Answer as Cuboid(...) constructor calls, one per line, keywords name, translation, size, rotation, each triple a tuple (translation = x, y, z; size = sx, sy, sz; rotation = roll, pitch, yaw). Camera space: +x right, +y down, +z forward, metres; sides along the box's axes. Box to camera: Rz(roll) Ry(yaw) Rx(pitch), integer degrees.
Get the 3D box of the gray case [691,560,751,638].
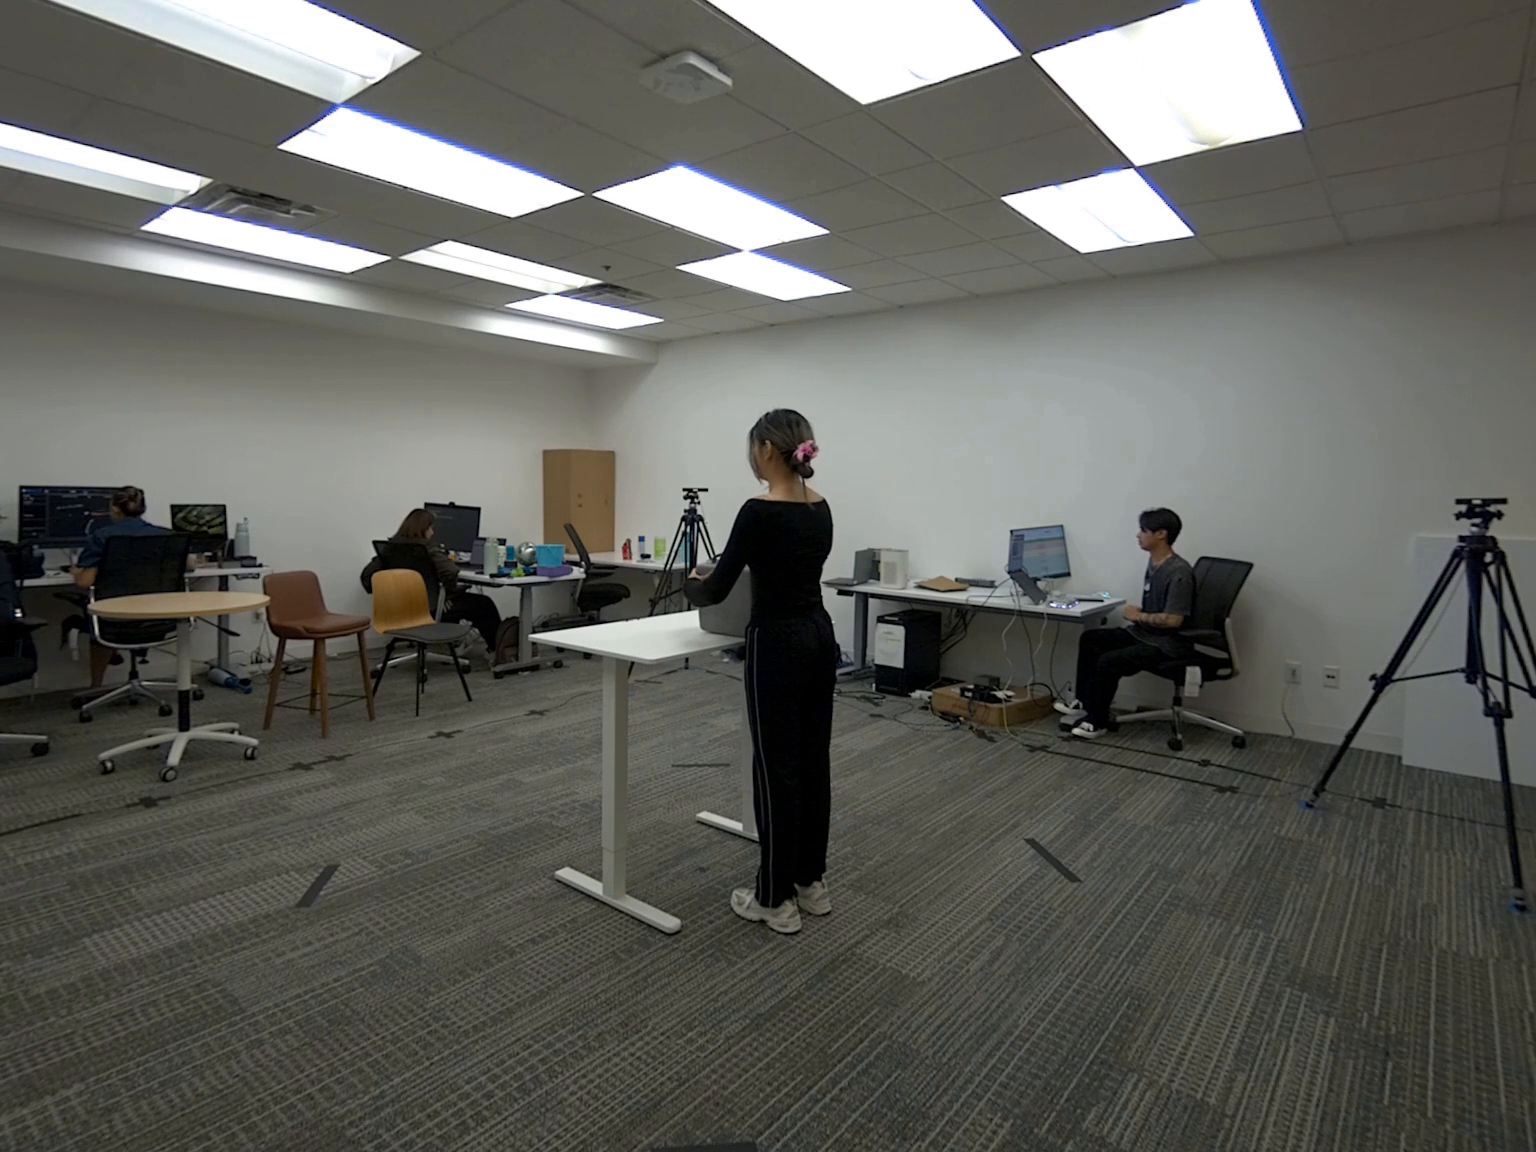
Cuboid(name="gray case", translation=(-0.130, 0.073, 2.945), size=(0.265, 0.258, 0.102), rotation=(4, 12, 35))
